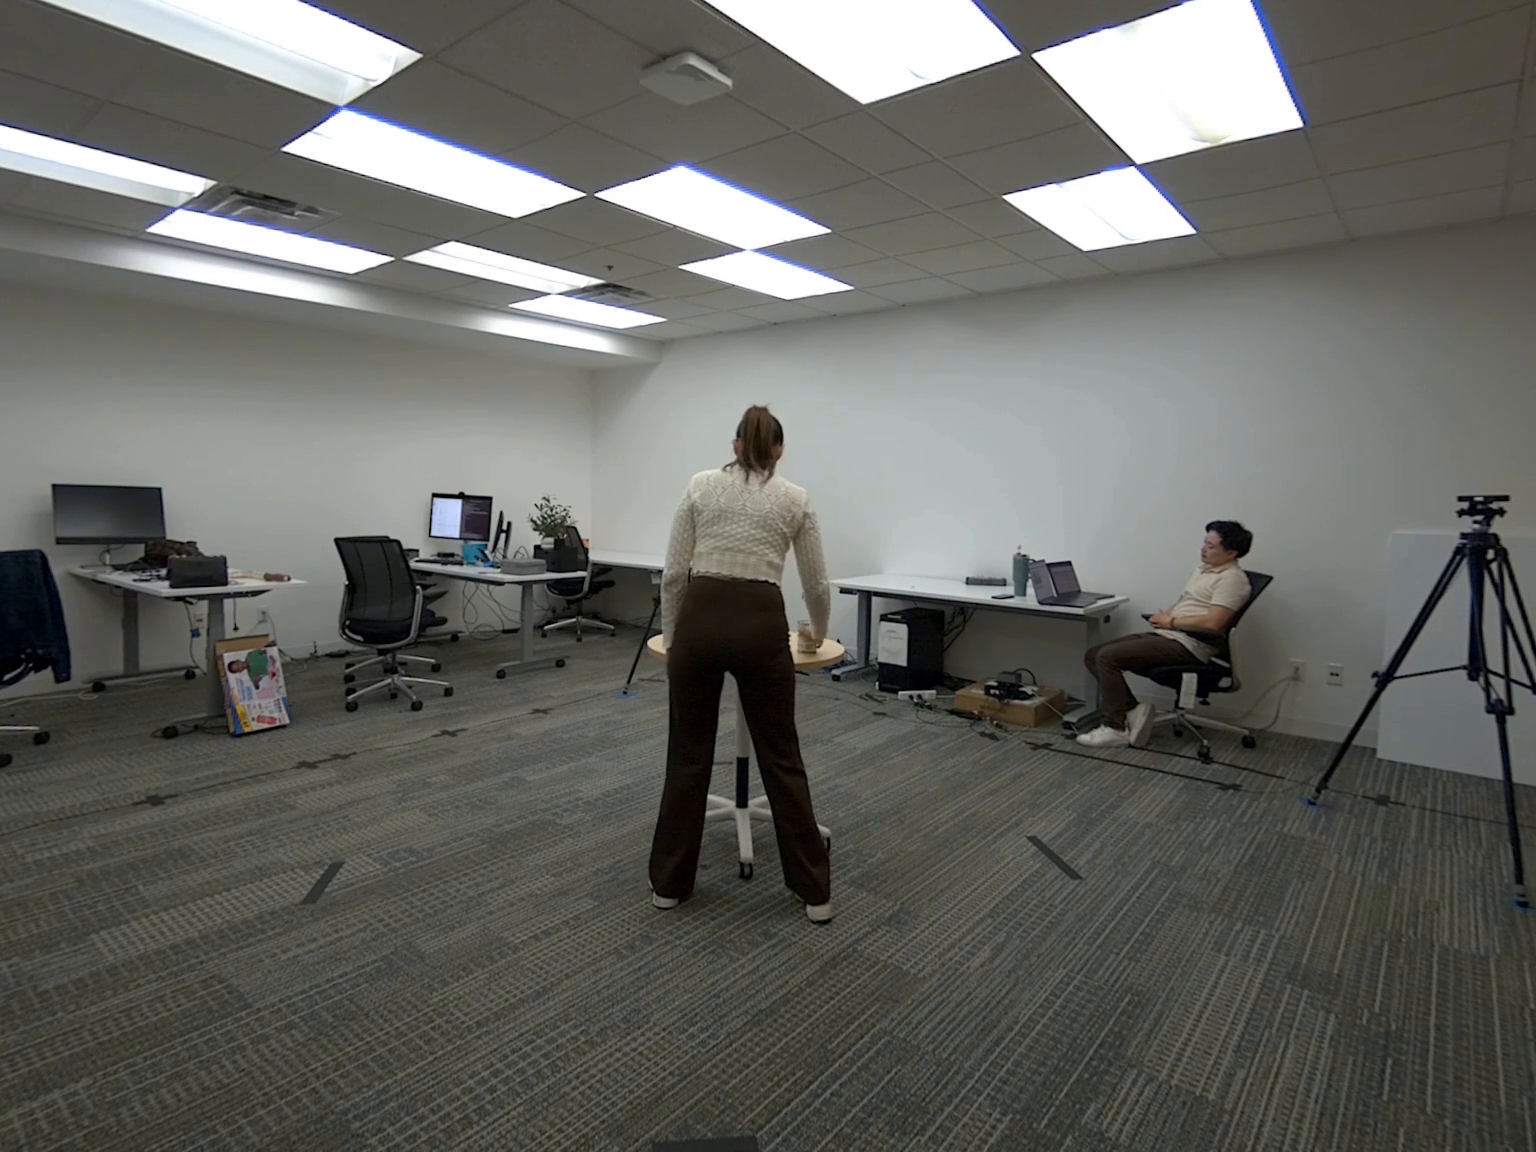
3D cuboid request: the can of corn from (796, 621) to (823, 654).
[{"bbox_3d":[0.142,0.226,3.187,0.074,0.110,0.074,1,4,-2],"label":"can of corn"}]
